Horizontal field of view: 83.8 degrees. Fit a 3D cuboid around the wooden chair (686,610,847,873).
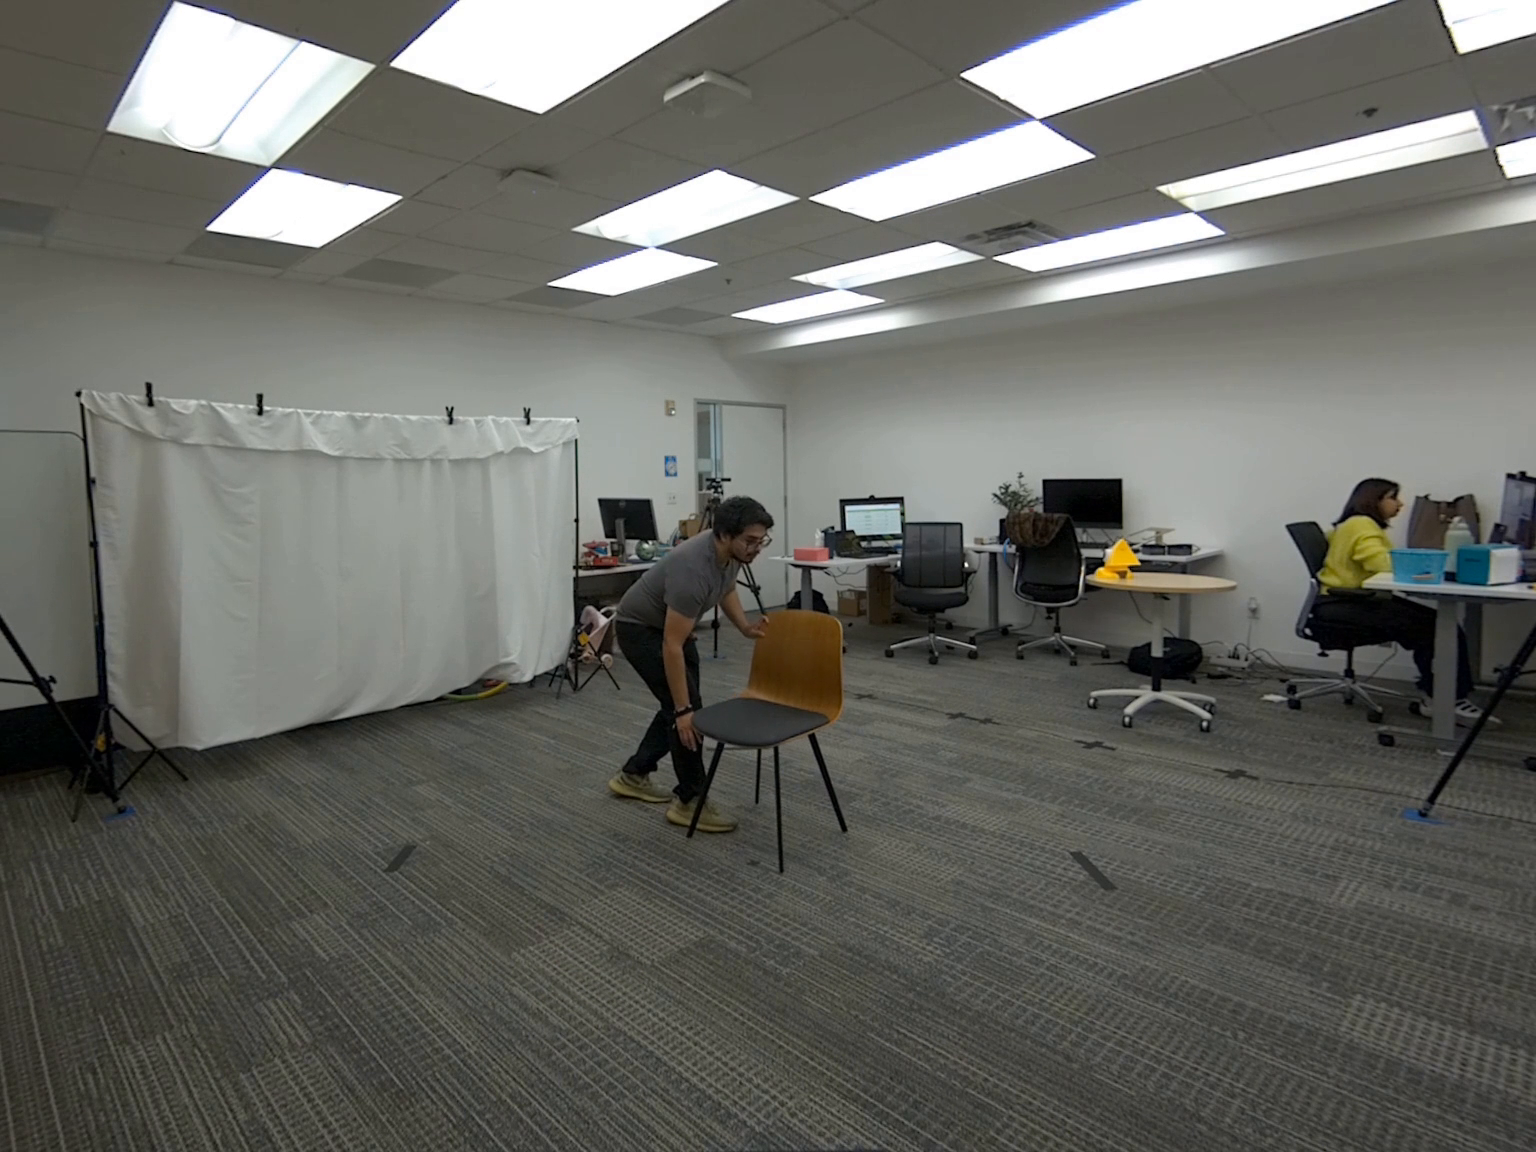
[{"bbox_3d":[0.001,0.585,3.278,0.492,0.876,0.508,5,3,36],"label":"wooden chair"}]
